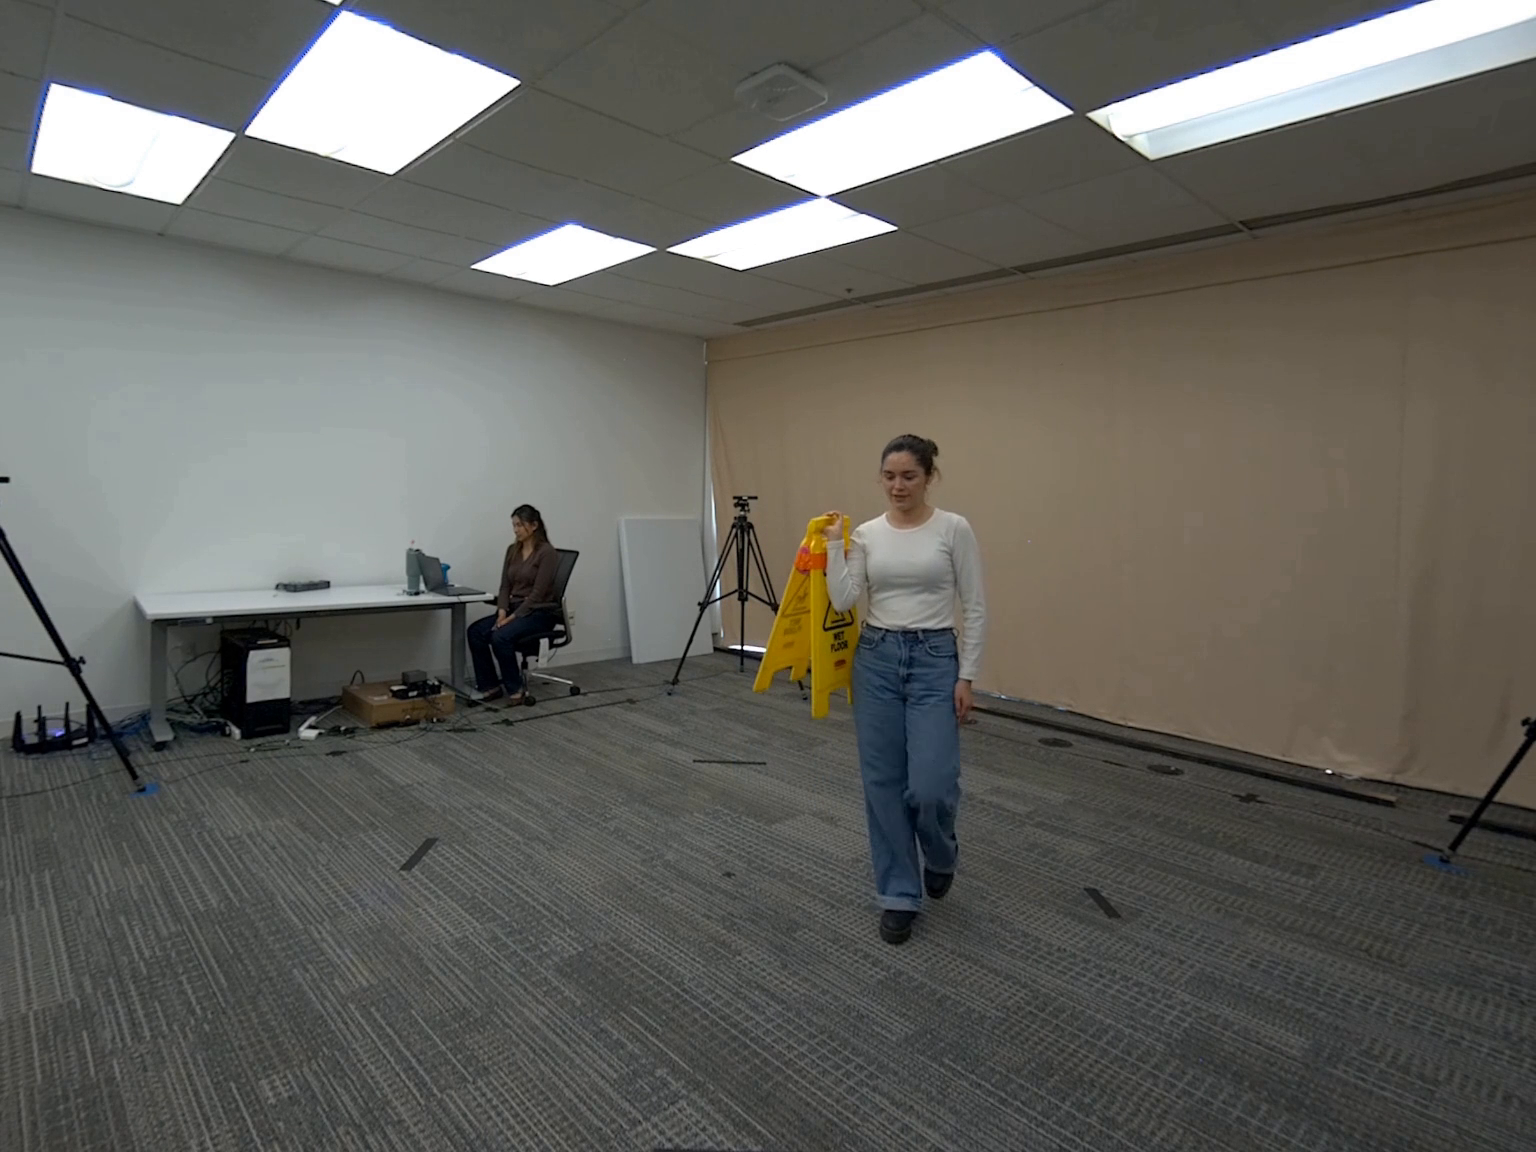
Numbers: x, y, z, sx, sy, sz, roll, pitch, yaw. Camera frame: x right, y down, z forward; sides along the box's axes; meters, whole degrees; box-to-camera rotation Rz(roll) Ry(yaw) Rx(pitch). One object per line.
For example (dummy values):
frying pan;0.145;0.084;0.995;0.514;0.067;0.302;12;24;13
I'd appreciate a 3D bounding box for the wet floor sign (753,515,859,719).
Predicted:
wet floor sign;0.170;0.116;2.890;0.298;0.641;0.276;16;16;38
